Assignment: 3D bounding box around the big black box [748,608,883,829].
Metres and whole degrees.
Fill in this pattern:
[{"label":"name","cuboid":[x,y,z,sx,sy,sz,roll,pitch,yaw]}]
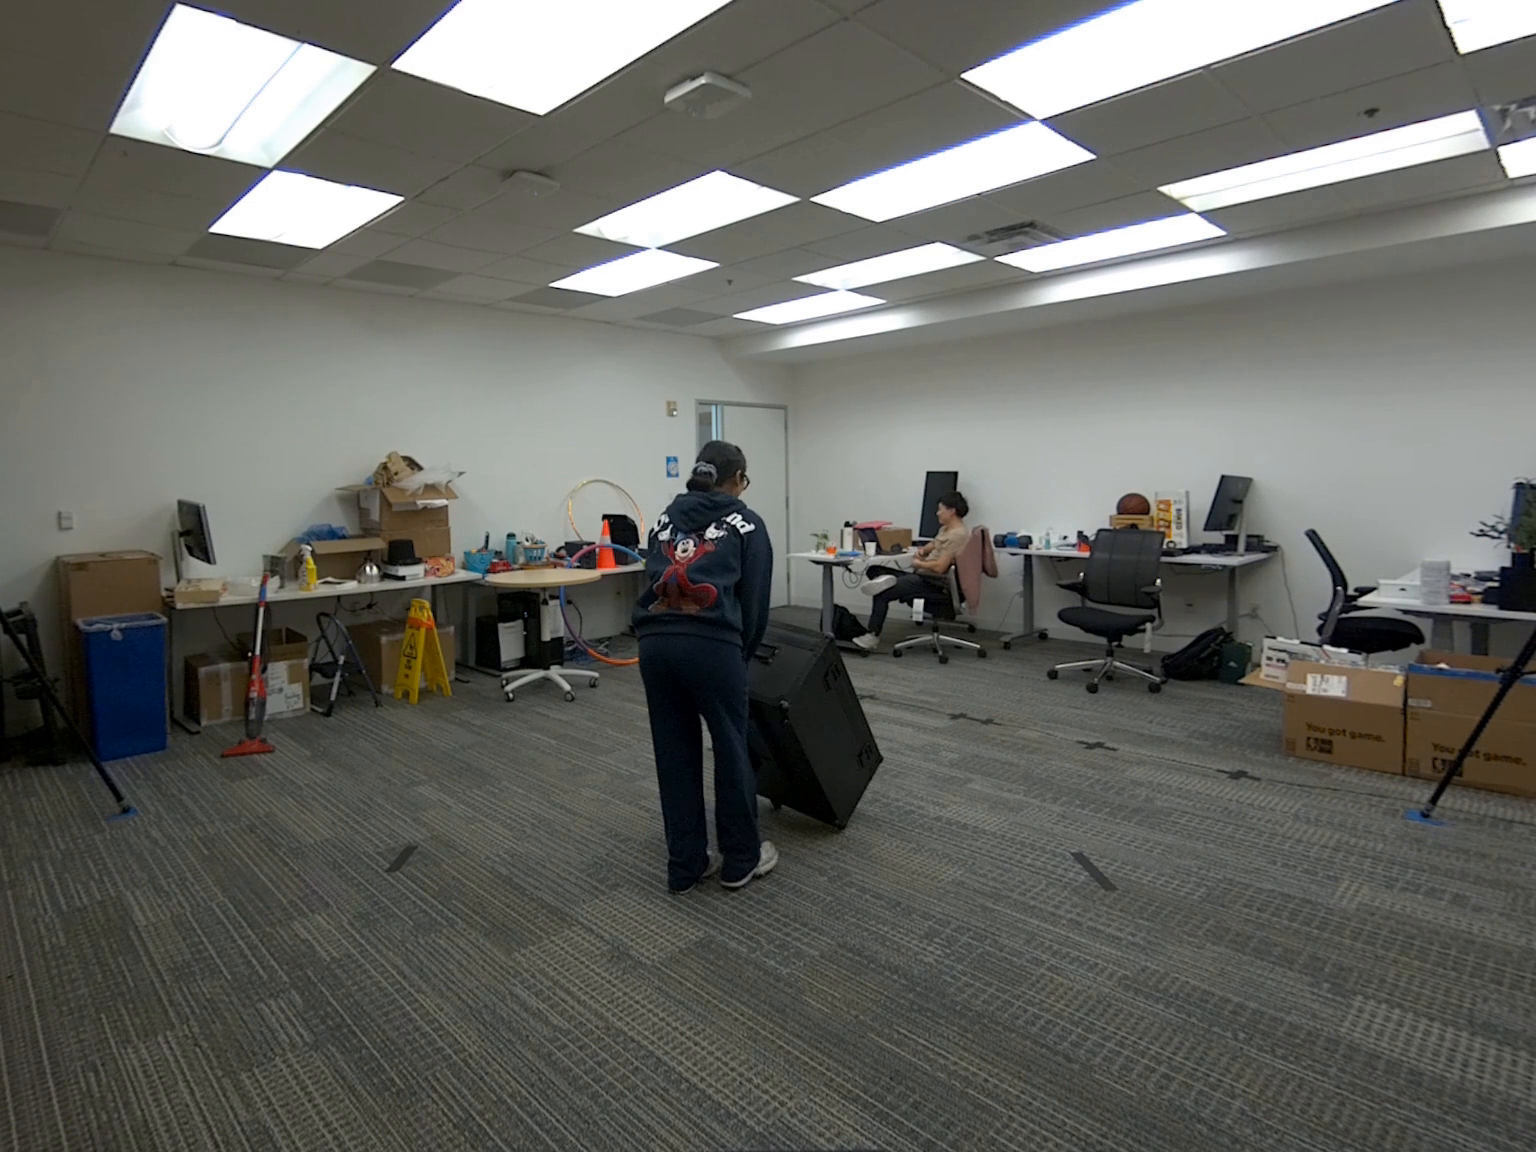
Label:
[{"label":"big black box","cuboid":[0.091,0.598,3.385,0.538,0.831,0.397,12,50,37]}]
